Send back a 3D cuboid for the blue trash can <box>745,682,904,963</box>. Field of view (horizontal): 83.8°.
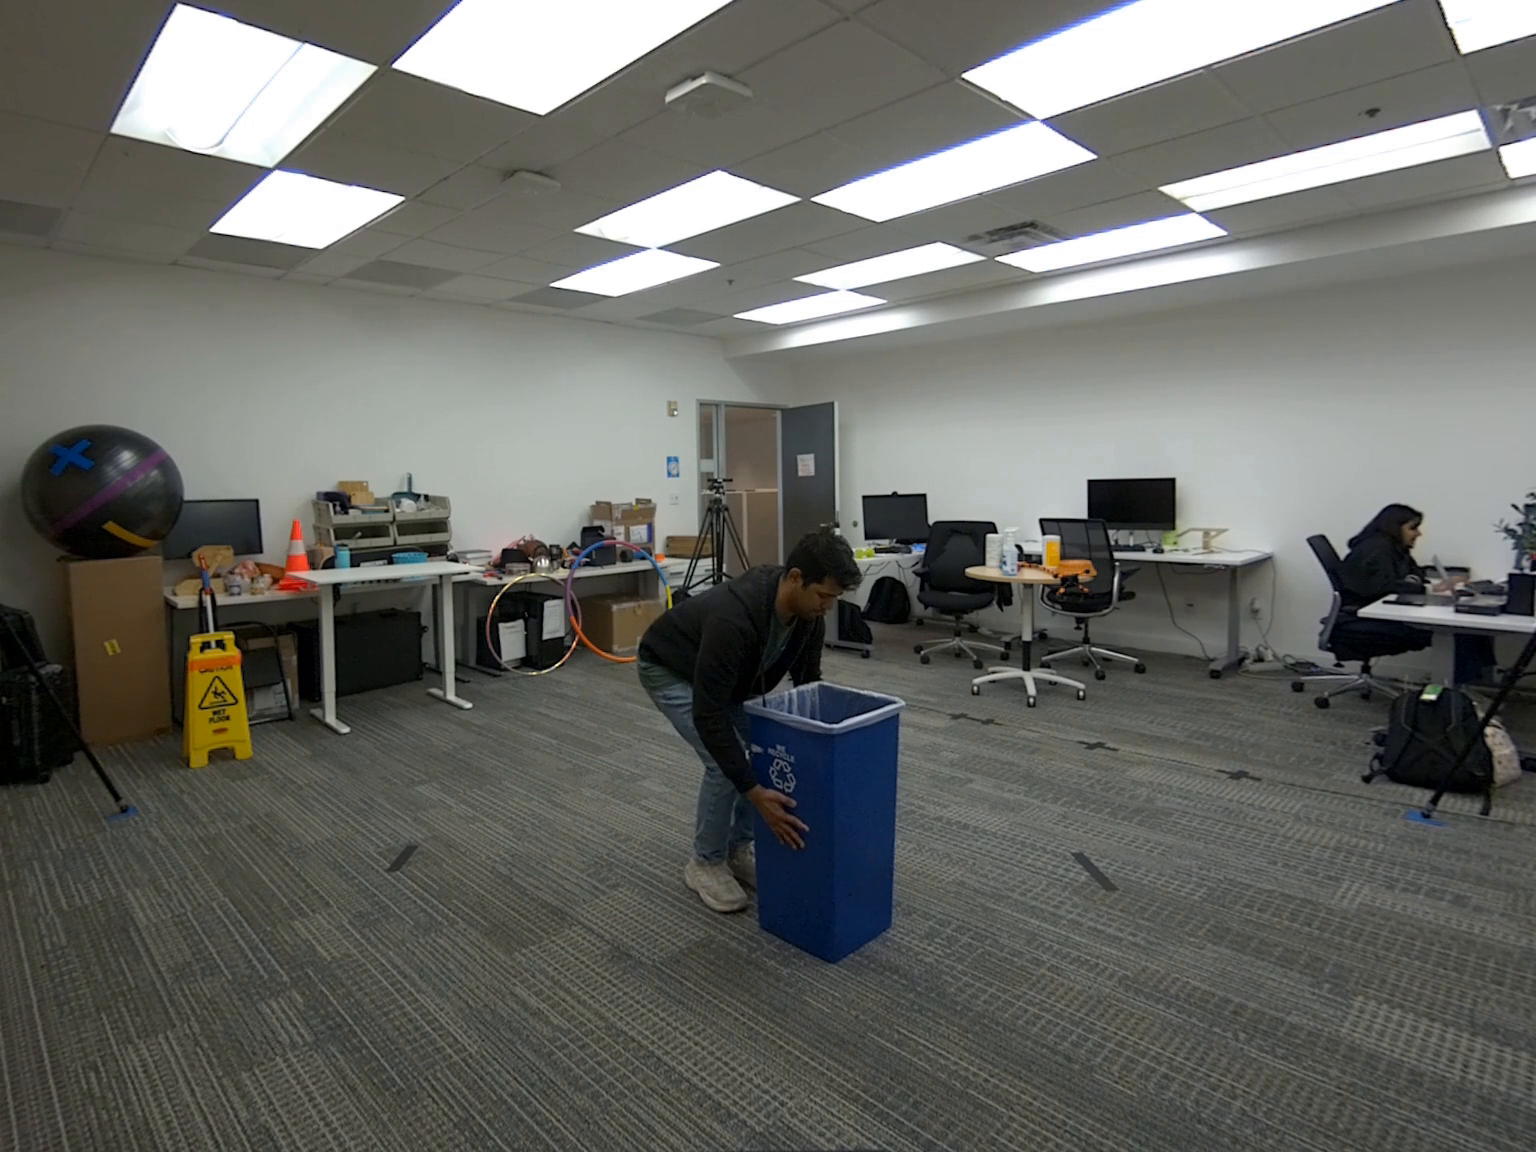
[{"bbox_3d":[0.189,0.738,2.623,0.386,0.710,0.368,4,7,44],"label":"blue trash can"}]
